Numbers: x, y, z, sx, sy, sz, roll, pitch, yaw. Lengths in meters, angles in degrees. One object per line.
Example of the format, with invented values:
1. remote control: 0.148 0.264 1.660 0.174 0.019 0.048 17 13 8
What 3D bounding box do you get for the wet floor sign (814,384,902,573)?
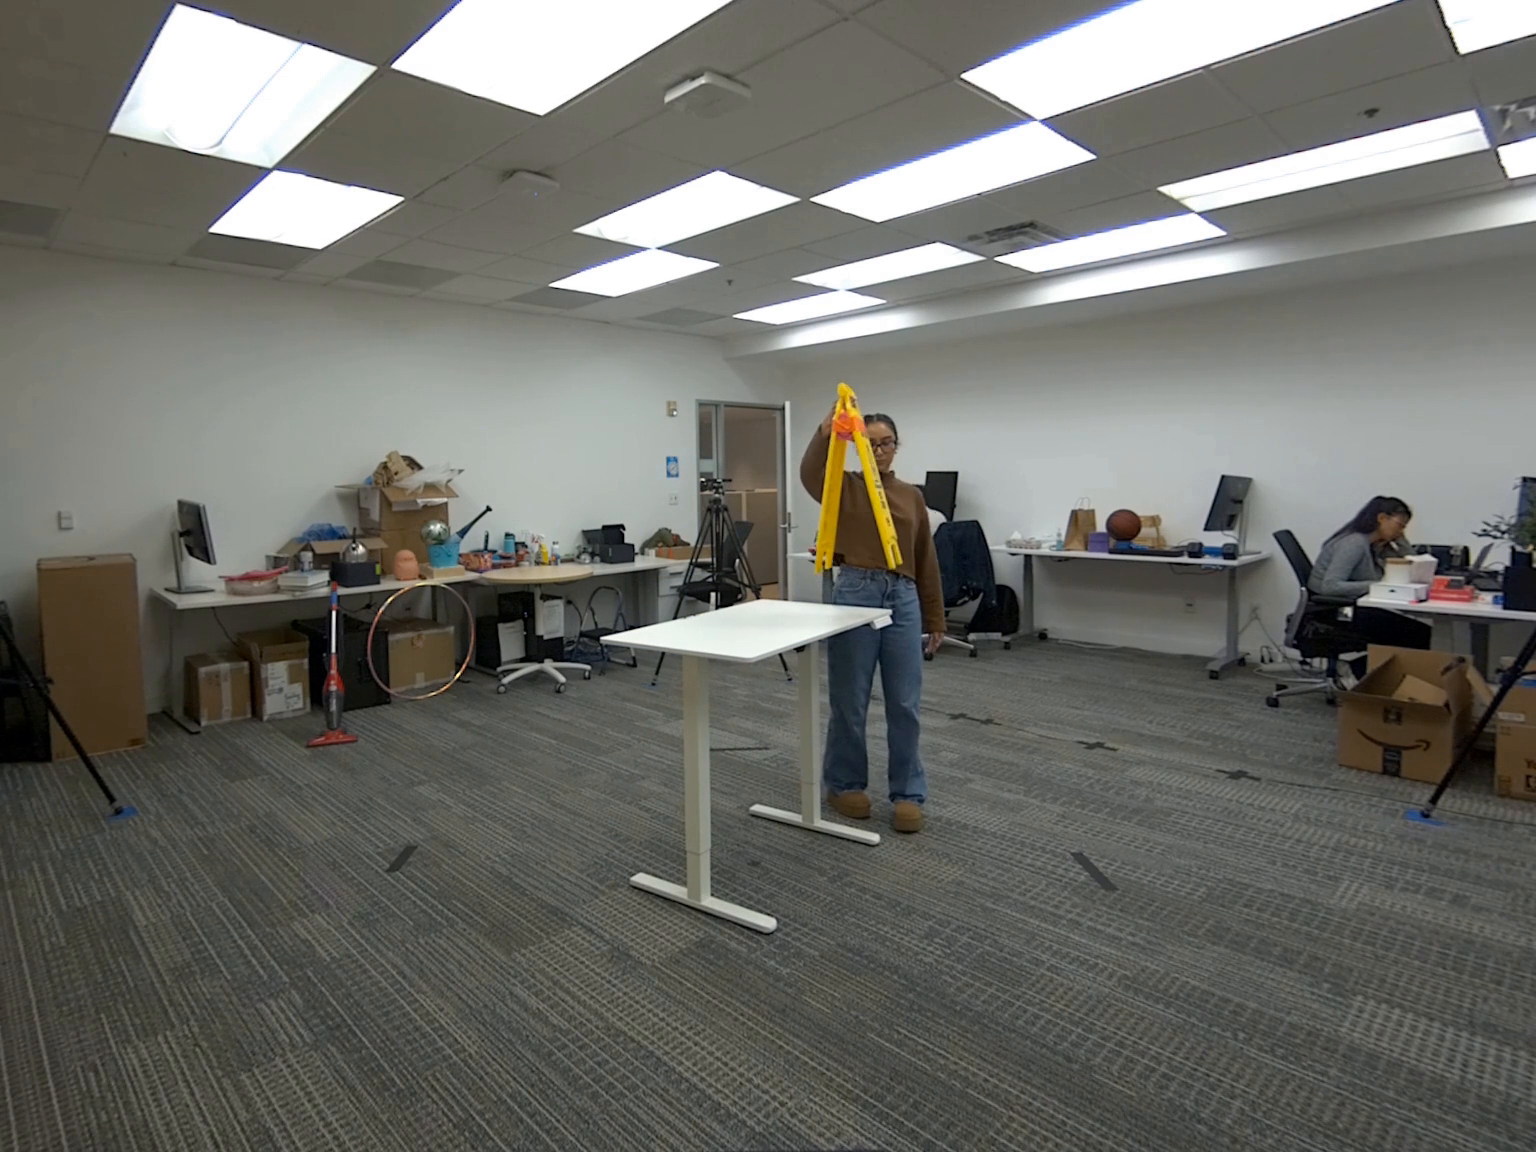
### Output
1. wet floor sign: 0.299 -0.349 3.027 0.294 0.646 0.278 -5 0 16
